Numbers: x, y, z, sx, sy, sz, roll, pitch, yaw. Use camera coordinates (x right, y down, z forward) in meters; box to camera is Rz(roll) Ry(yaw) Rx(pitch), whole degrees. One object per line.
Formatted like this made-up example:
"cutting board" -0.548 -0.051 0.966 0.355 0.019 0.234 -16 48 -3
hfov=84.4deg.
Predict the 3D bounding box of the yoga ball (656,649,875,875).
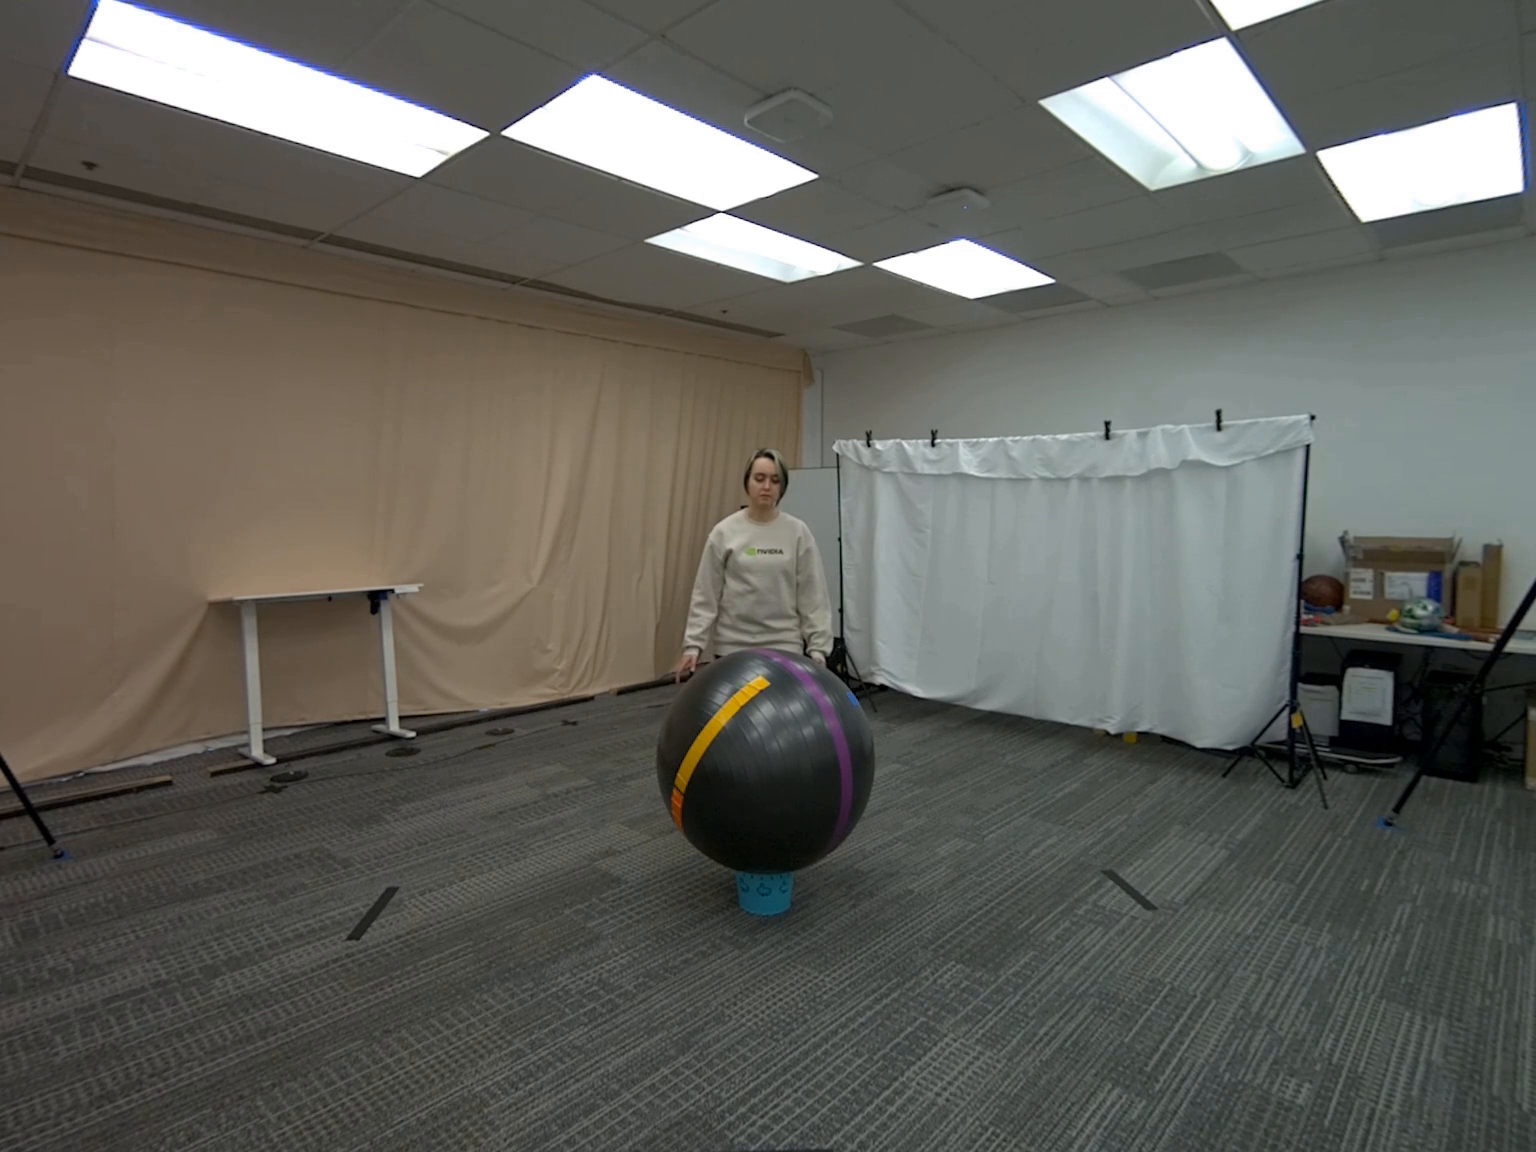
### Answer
"yoga ball" -0.010 0.637 2.925 0.757 0.756 0.760 0 4 -2
